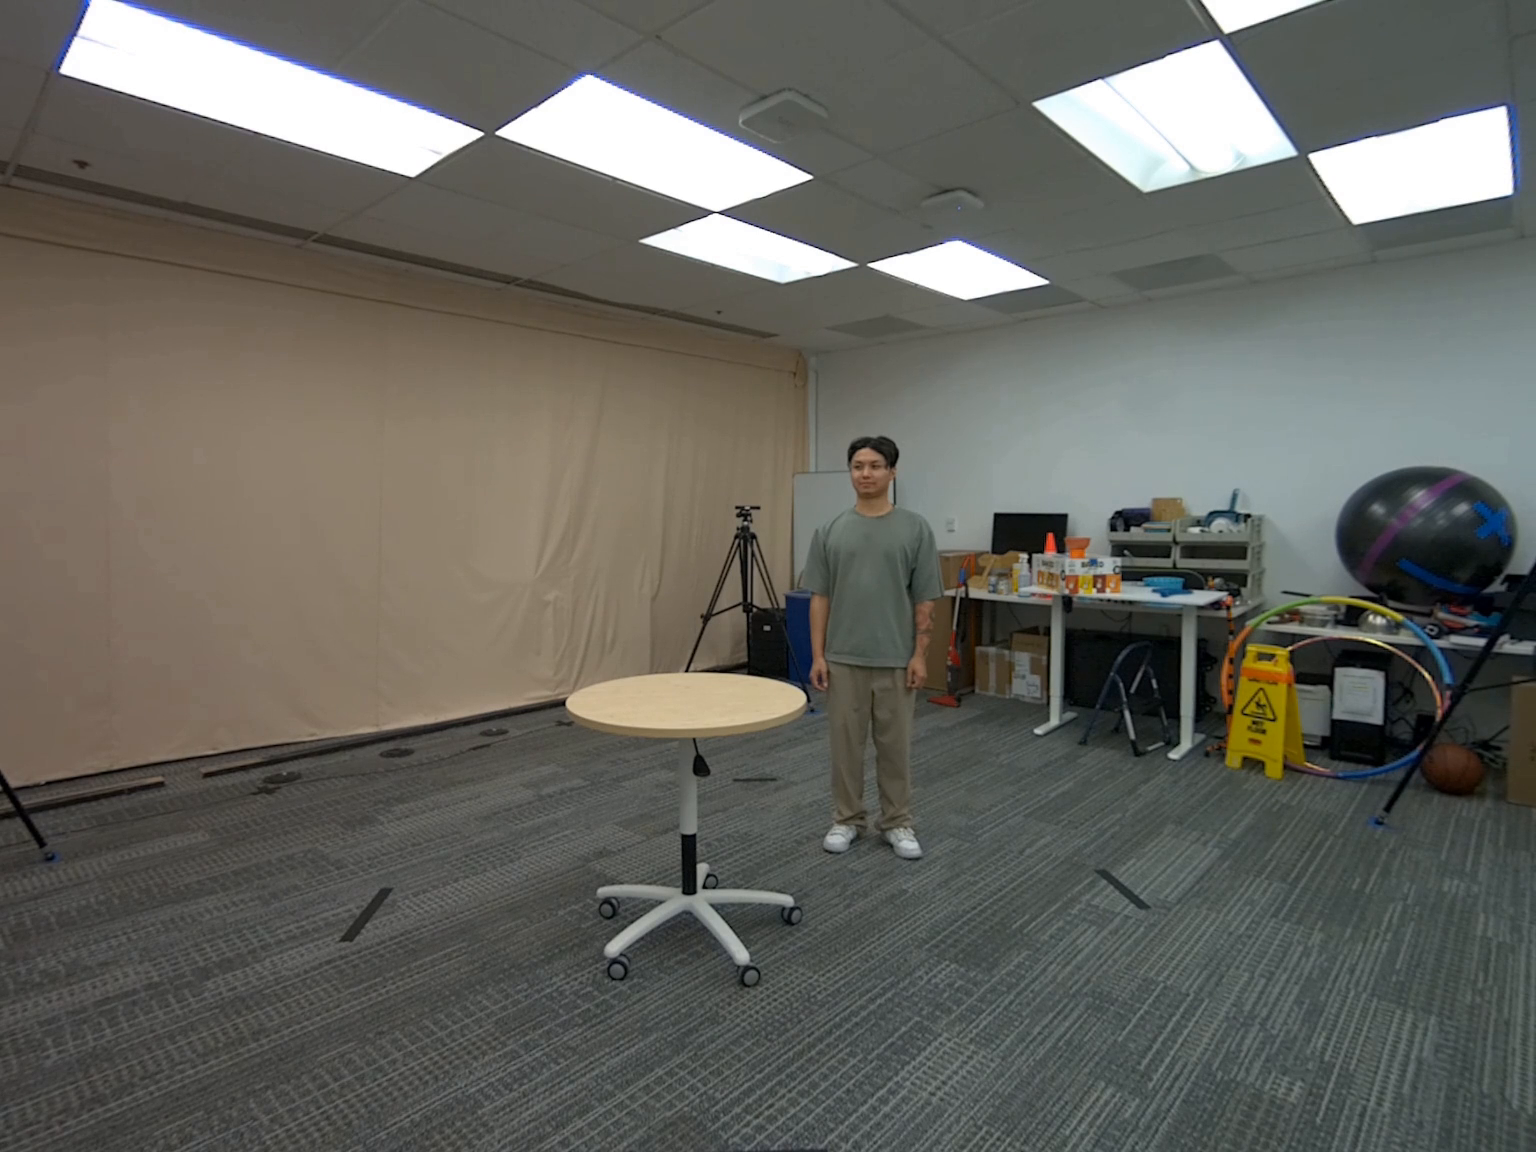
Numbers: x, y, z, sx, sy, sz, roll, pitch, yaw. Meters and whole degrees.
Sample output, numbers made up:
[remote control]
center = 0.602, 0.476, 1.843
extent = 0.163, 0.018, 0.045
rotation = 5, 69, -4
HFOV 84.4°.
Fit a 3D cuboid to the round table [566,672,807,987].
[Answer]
[round table]
center = -0.259, 0.774, 2.727
extent = 0.784, 0.785, 0.788
rotation = -1, 4, -2
